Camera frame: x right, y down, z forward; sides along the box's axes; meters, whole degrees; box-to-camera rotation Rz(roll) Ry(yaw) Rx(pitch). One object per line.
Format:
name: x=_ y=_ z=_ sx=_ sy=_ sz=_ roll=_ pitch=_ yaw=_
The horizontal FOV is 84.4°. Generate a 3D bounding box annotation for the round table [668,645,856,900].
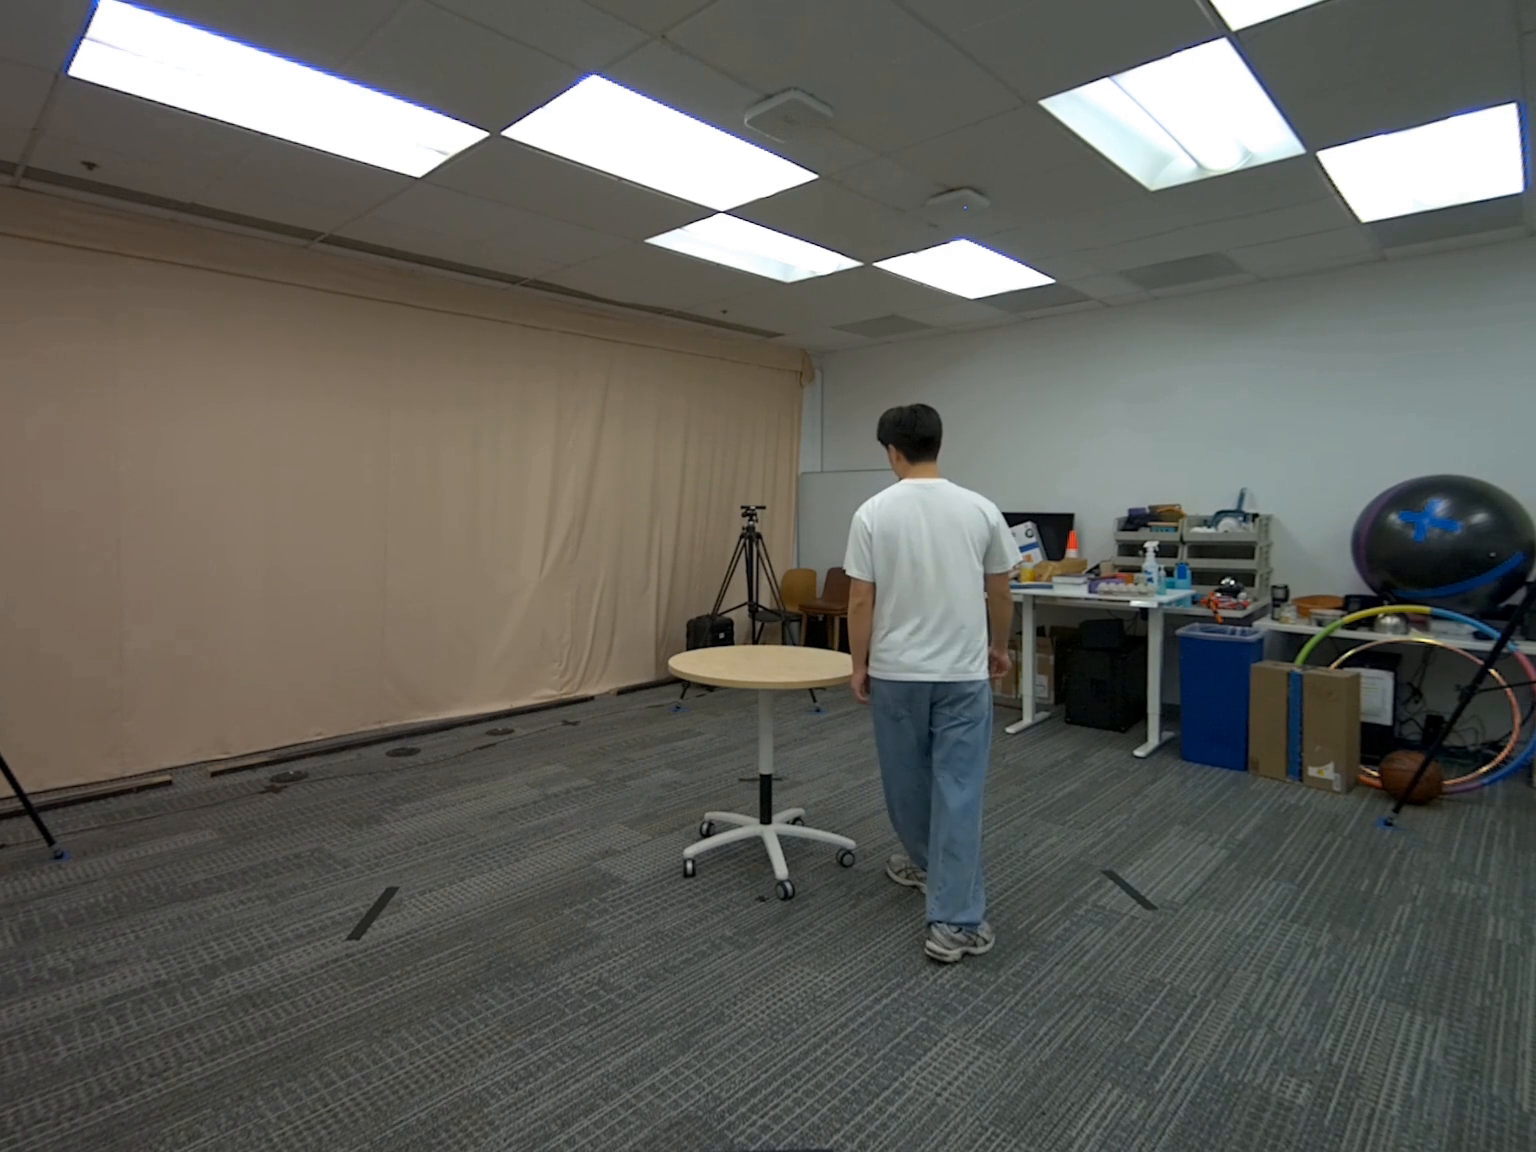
round table: x=-0.006 y=0.727 z=3.308 sx=0.763 sy=0.792 sz=0.766 roll=0 pitch=3 yaw=-2
